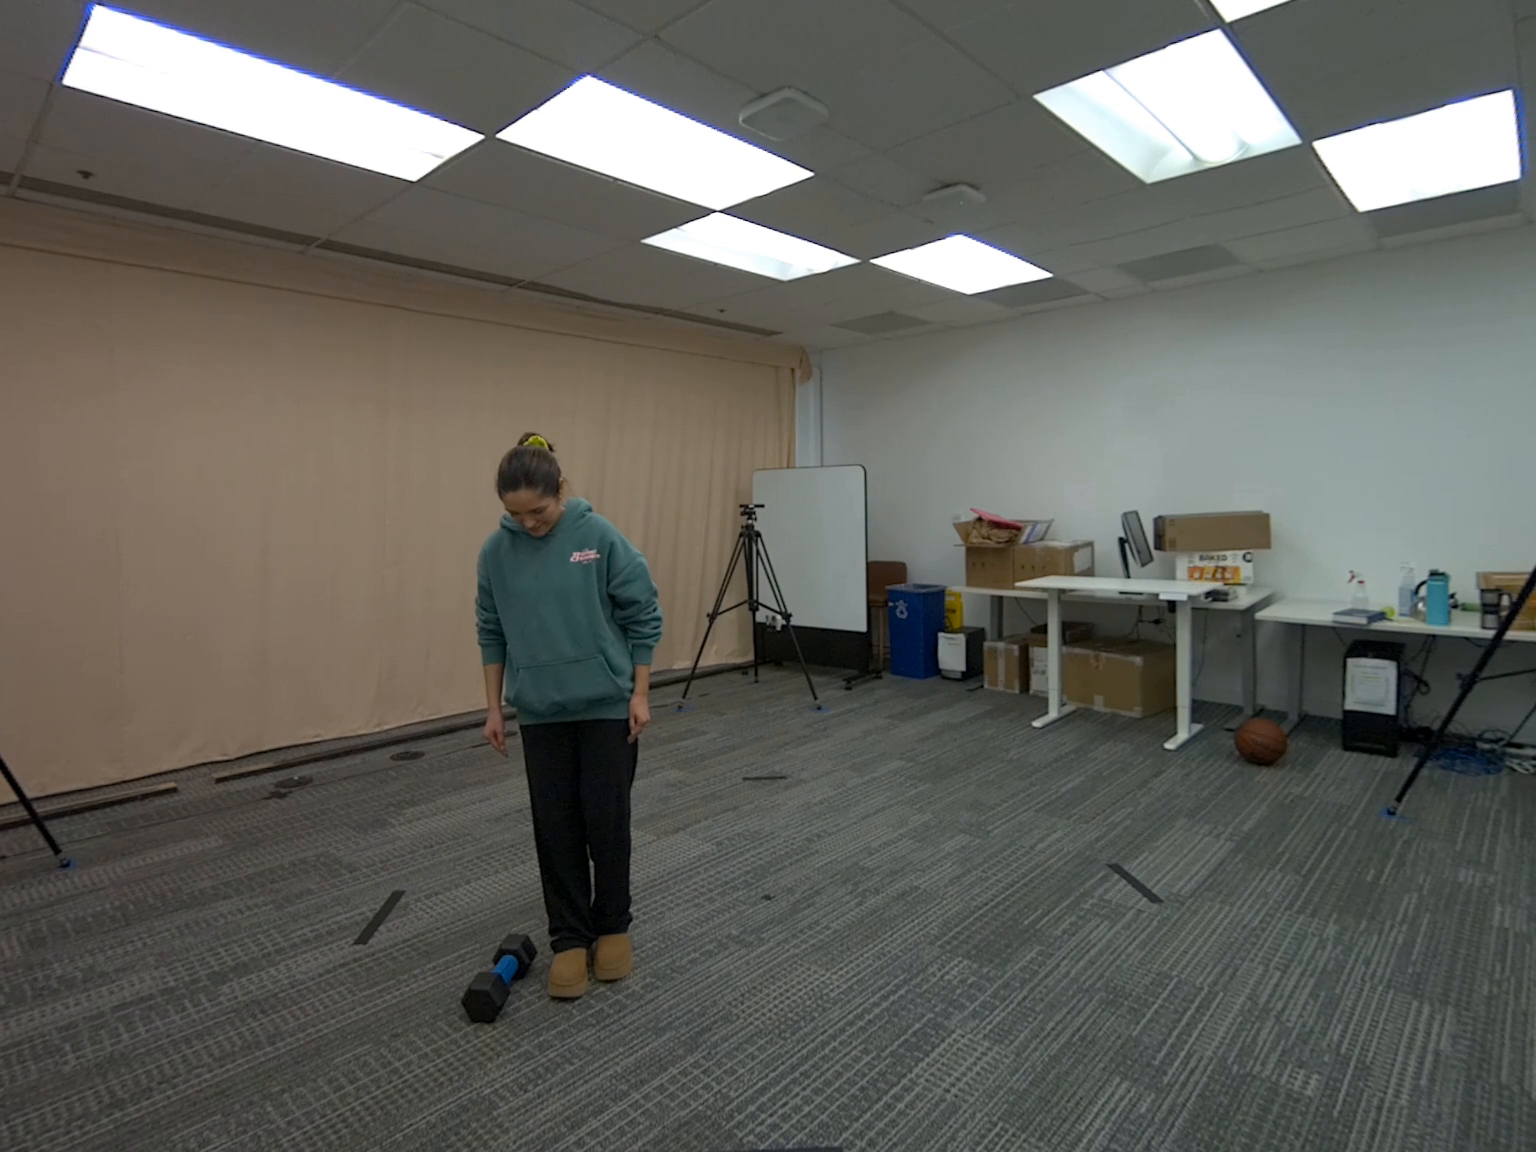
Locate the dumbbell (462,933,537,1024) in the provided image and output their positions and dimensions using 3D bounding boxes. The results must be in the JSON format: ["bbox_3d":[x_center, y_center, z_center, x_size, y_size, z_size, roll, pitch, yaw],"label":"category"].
[{"bbox_3d":[-0.772,1.156,2.413,0.109,0.123,0.292,-29,1,5],"label":"dumbbell"}]
